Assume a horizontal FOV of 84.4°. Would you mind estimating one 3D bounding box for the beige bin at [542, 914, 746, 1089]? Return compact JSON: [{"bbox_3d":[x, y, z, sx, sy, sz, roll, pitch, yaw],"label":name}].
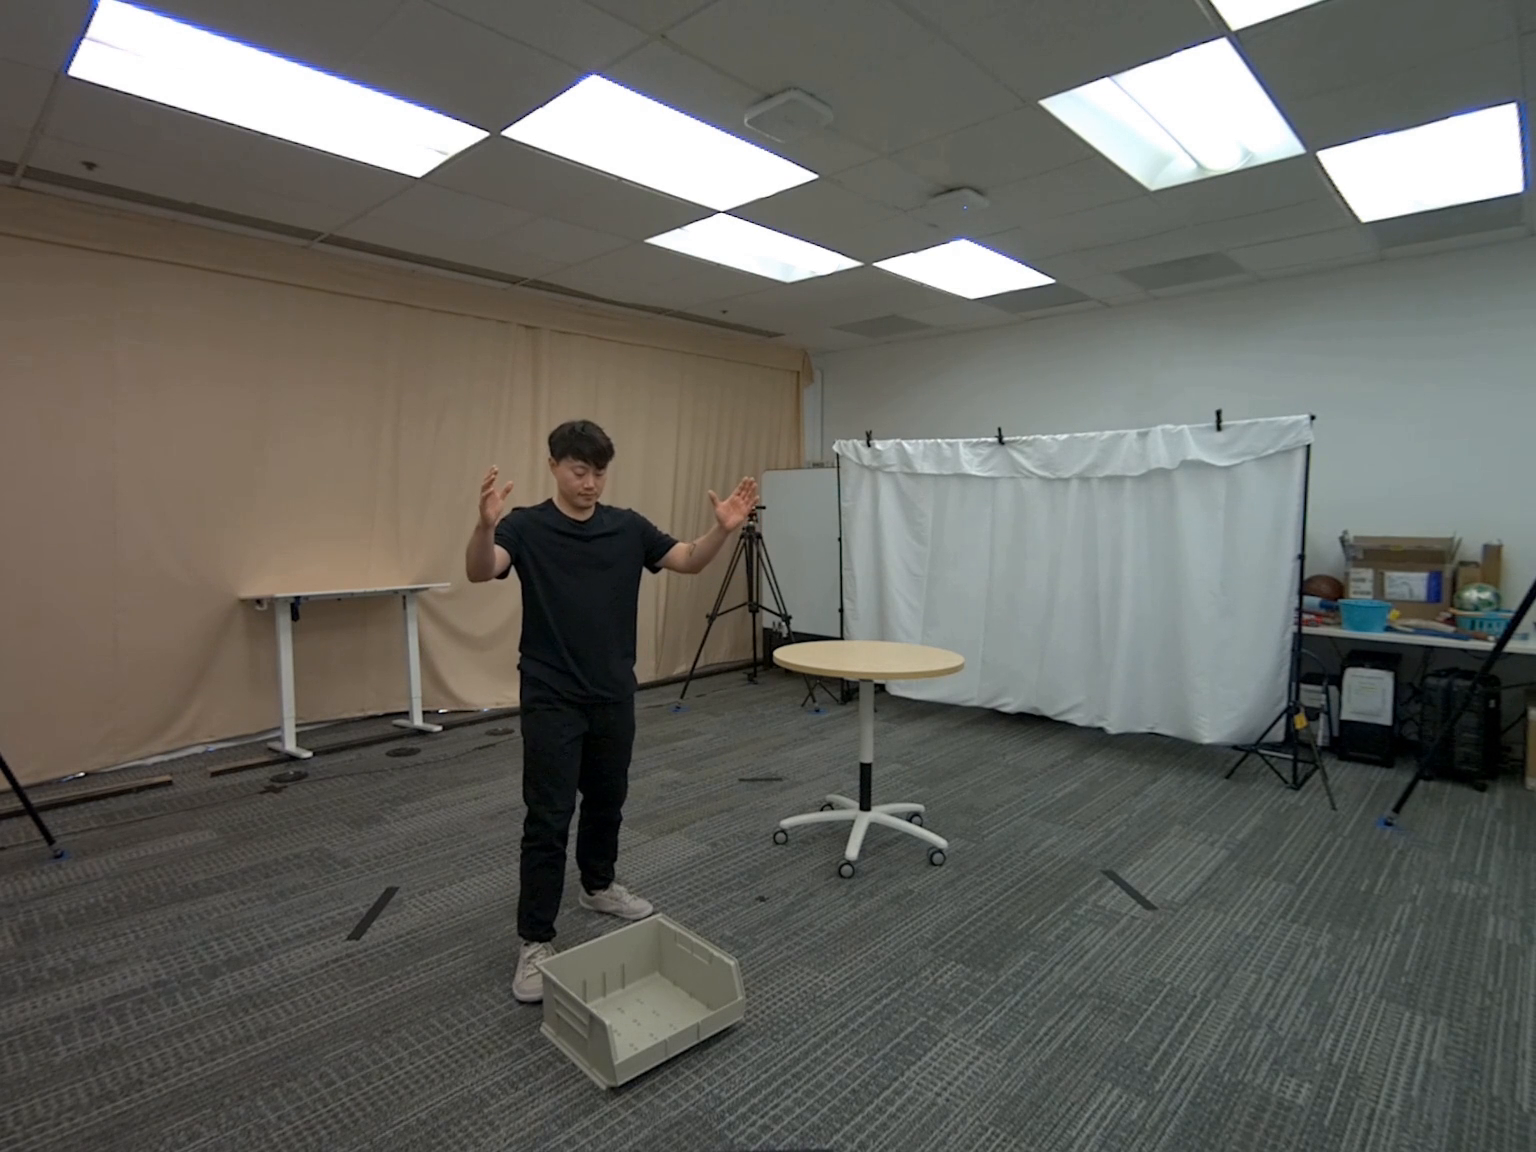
[{"bbox_3d":[-0.335,1.122,2.230,0.409,0.188,0.390,-5,5,-43],"label":"beige bin"}]
